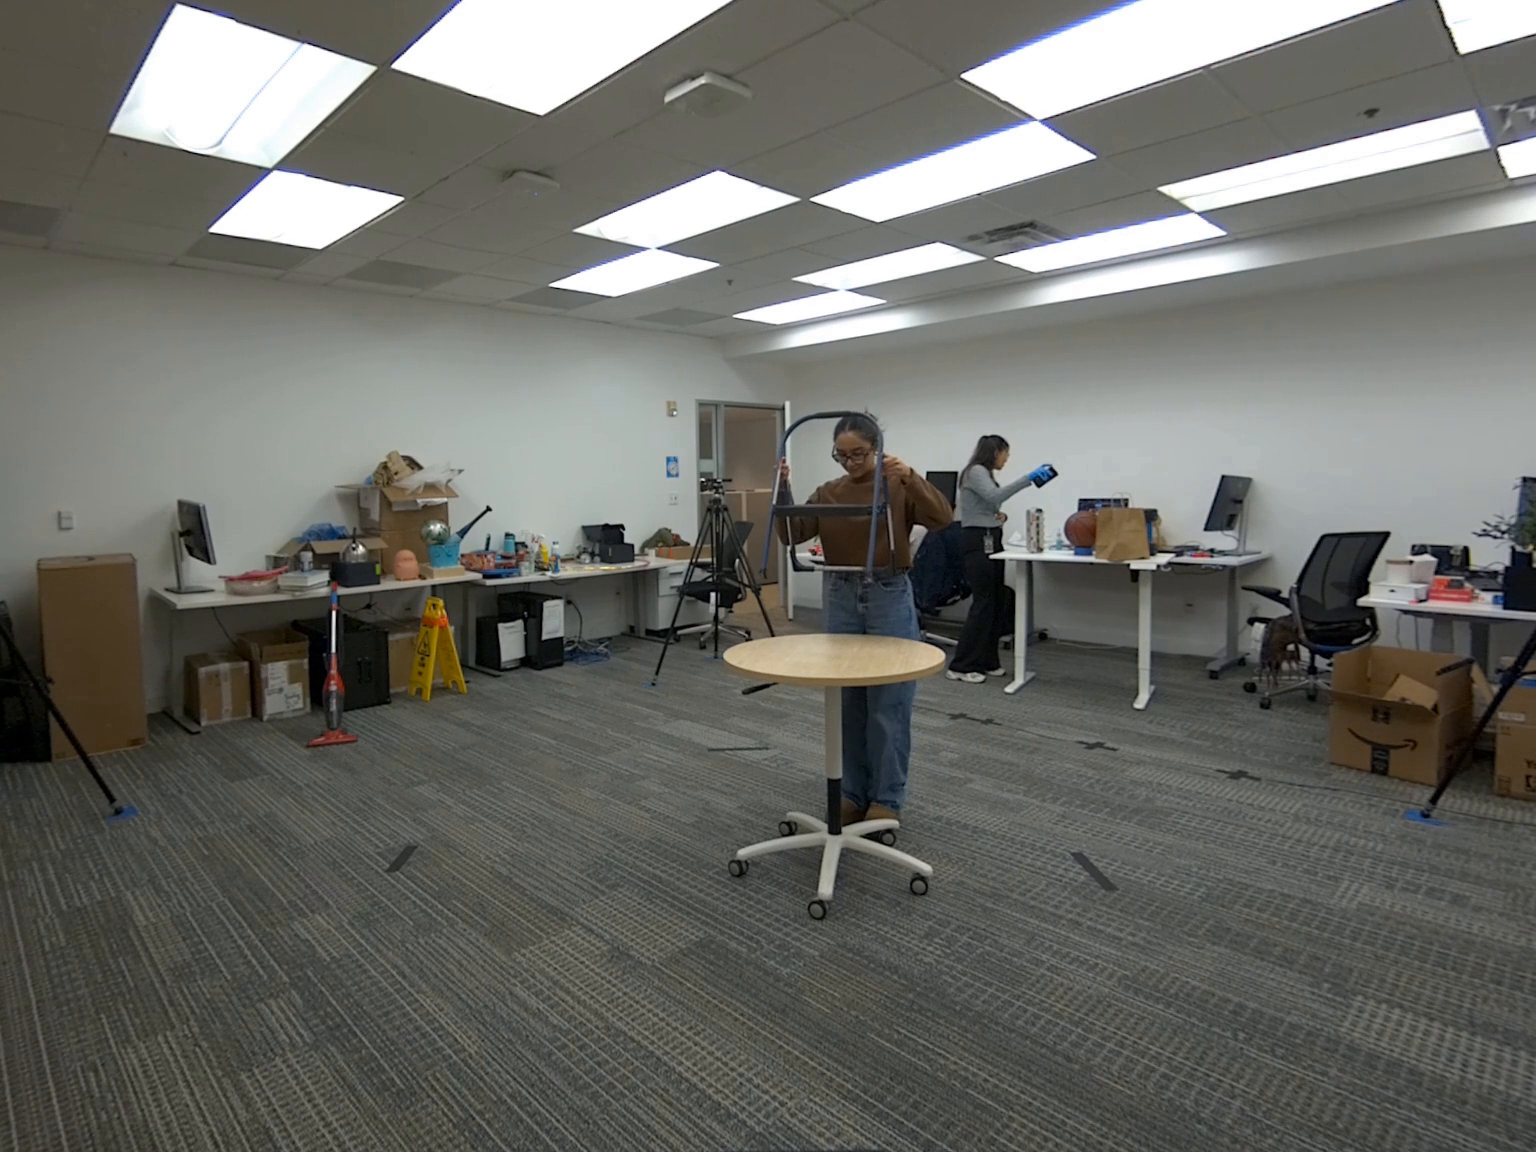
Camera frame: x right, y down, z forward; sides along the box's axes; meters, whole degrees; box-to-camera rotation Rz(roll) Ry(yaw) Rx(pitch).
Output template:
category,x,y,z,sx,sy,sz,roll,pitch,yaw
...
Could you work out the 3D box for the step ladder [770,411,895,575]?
category,x,y,z,sx,sy,sz,roll,pitch,yaw
step ladder,0.233,-0.301,3.128,0.440,0.605,0.342,0,3,25
